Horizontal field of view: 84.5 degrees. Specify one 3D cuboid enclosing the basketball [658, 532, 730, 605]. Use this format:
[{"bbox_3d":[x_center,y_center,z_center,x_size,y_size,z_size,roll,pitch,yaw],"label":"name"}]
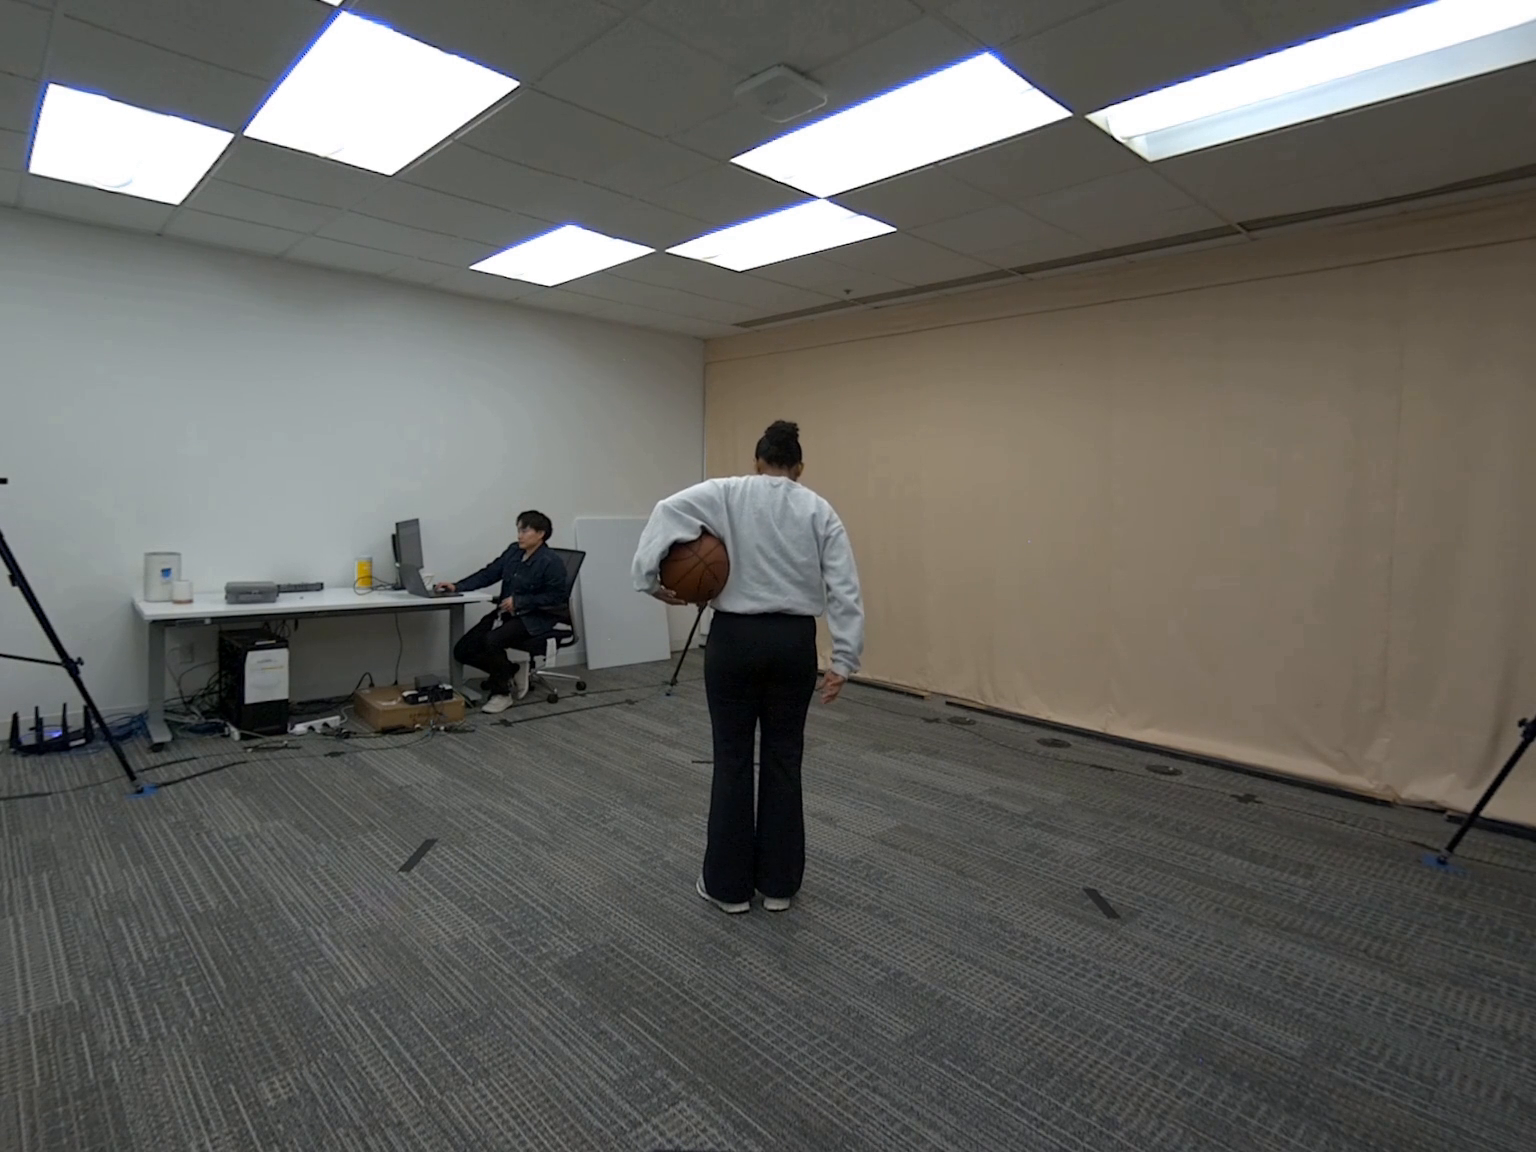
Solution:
[{"bbox_3d":[-0.245,-0.029,2.749,0.236,0.235,0.237,1,4,-1],"label":"basketball"}]
